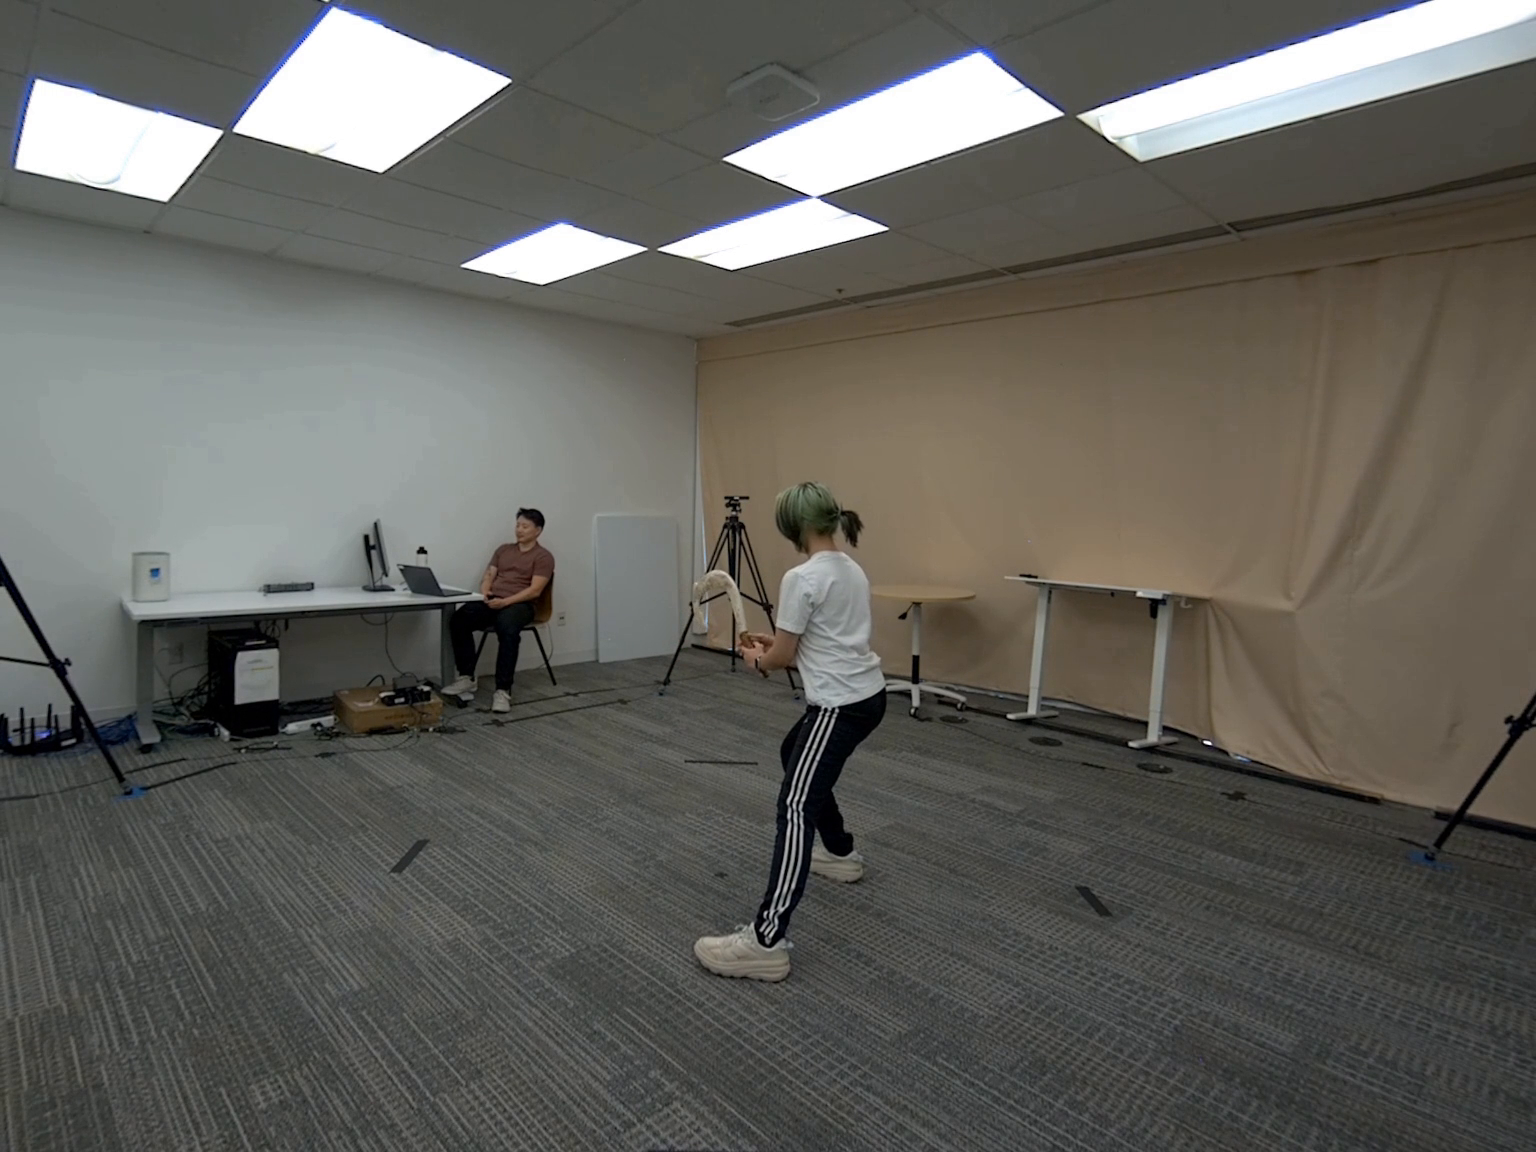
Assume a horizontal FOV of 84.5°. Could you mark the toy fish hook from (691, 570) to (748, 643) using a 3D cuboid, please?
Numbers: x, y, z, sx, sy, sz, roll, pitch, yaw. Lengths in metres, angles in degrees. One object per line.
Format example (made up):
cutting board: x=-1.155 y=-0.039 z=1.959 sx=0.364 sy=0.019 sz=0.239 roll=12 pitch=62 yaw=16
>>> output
toy fish hook: x=-0.152 y=0.209 z=3.309 sx=0.225 sy=0.519 sz=0.047 roll=-42 pitch=-29 yaw=24
